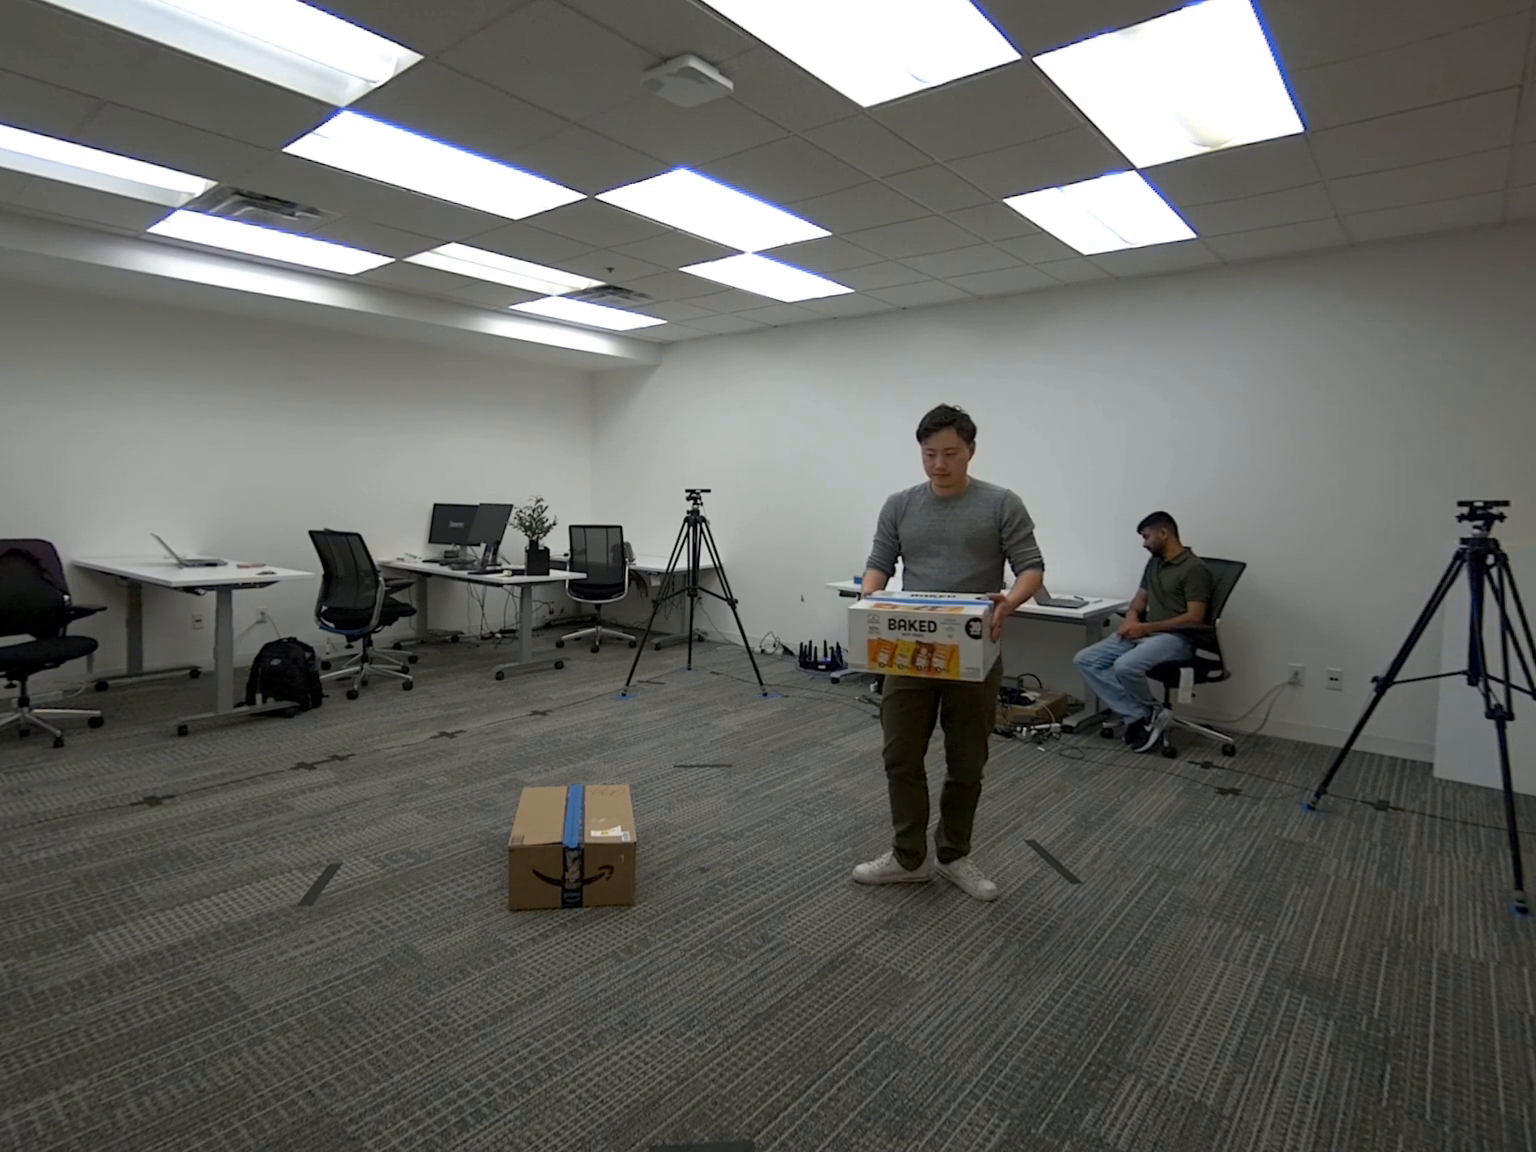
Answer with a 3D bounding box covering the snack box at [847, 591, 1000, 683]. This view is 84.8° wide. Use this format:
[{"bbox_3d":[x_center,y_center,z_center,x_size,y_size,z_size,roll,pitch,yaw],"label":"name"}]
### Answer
[{"bbox_3d":[0.491,0.171,2.697,0.415,0.204,0.334,2,9,24],"label":"snack box"}]
